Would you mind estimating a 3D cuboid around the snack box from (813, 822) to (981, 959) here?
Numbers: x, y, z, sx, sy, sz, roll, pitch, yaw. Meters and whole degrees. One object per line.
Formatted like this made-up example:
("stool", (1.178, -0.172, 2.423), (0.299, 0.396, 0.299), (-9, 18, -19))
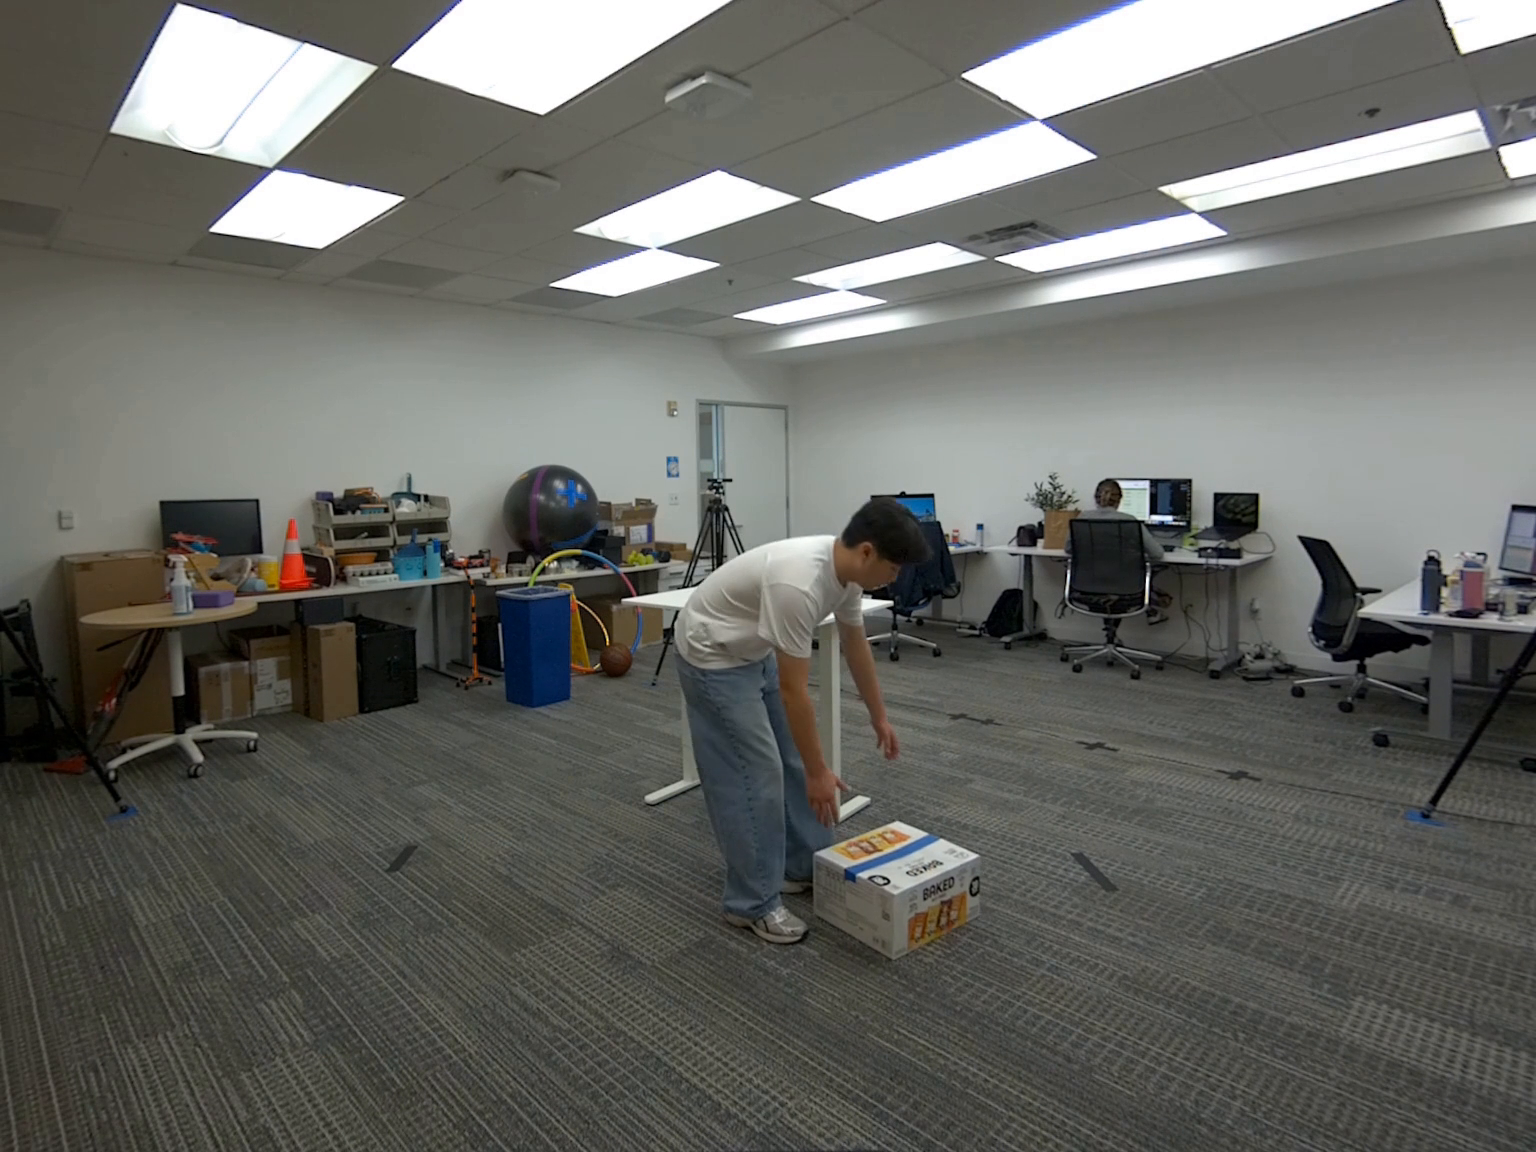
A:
("snack box", (0.407, 0.980, 2.706), (0.395, 0.205, 0.351), (-6, 7, -39))
